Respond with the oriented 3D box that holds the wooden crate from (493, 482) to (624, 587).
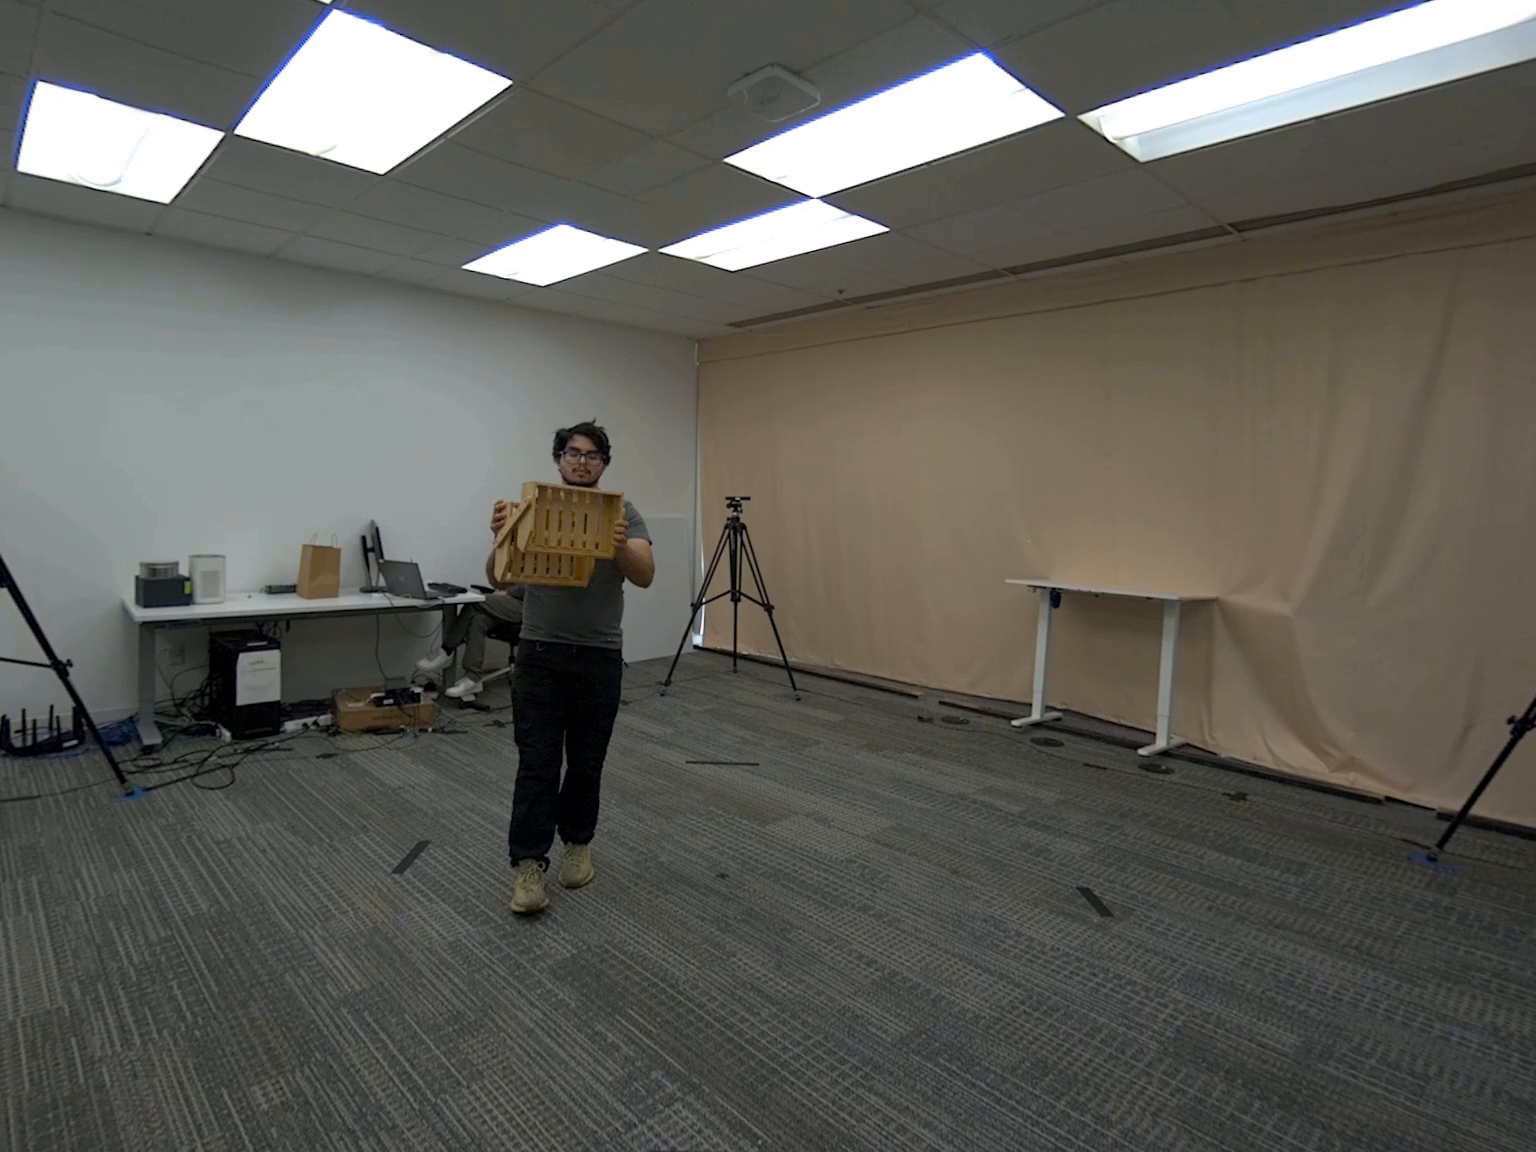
[{"bbox_3d":[-0.669,-0.119,2.633,0.316,0.303,0.279,5,-3,-39],"label":"wooden crate"}]
